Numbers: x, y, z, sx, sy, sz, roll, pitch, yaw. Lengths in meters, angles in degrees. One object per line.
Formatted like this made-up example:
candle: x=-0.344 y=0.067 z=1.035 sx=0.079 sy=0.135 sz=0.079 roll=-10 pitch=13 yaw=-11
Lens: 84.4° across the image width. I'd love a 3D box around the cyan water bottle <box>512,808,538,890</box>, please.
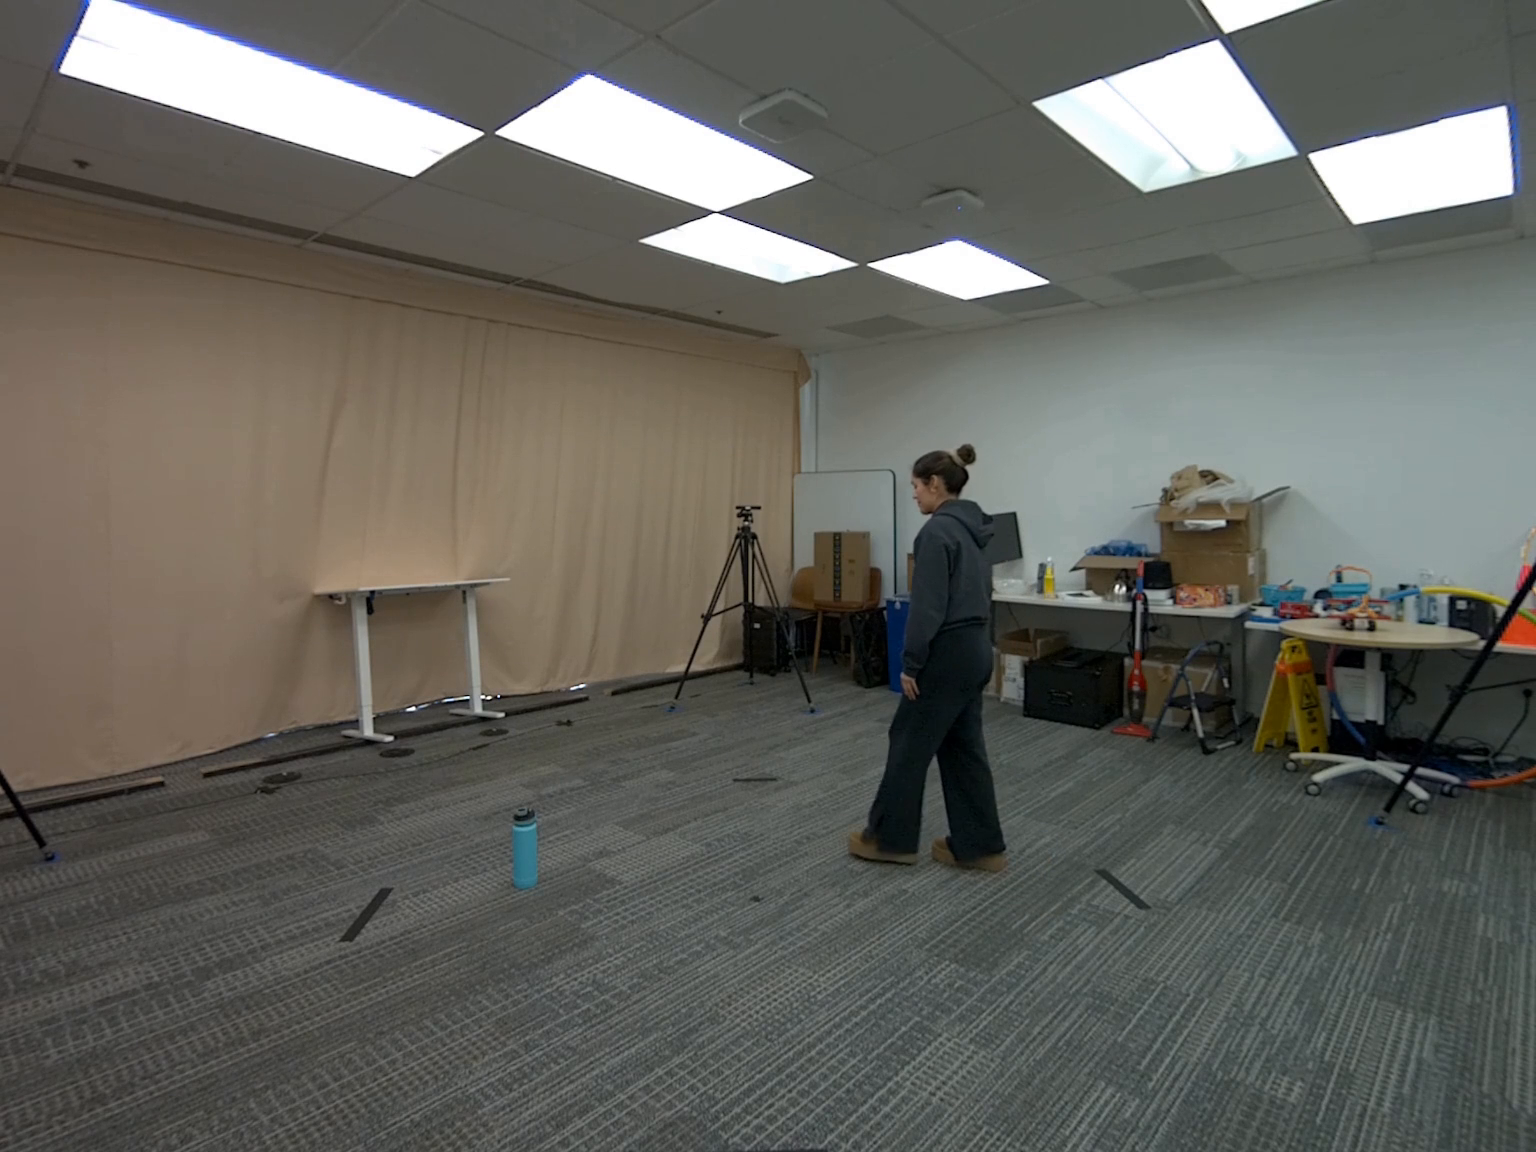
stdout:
cyan water bottle: x=-0.885 y=1.012 z=3.123 sx=0.092 sy=0.283 sz=0.092 roll=-3 pitch=1 yaw=-2
